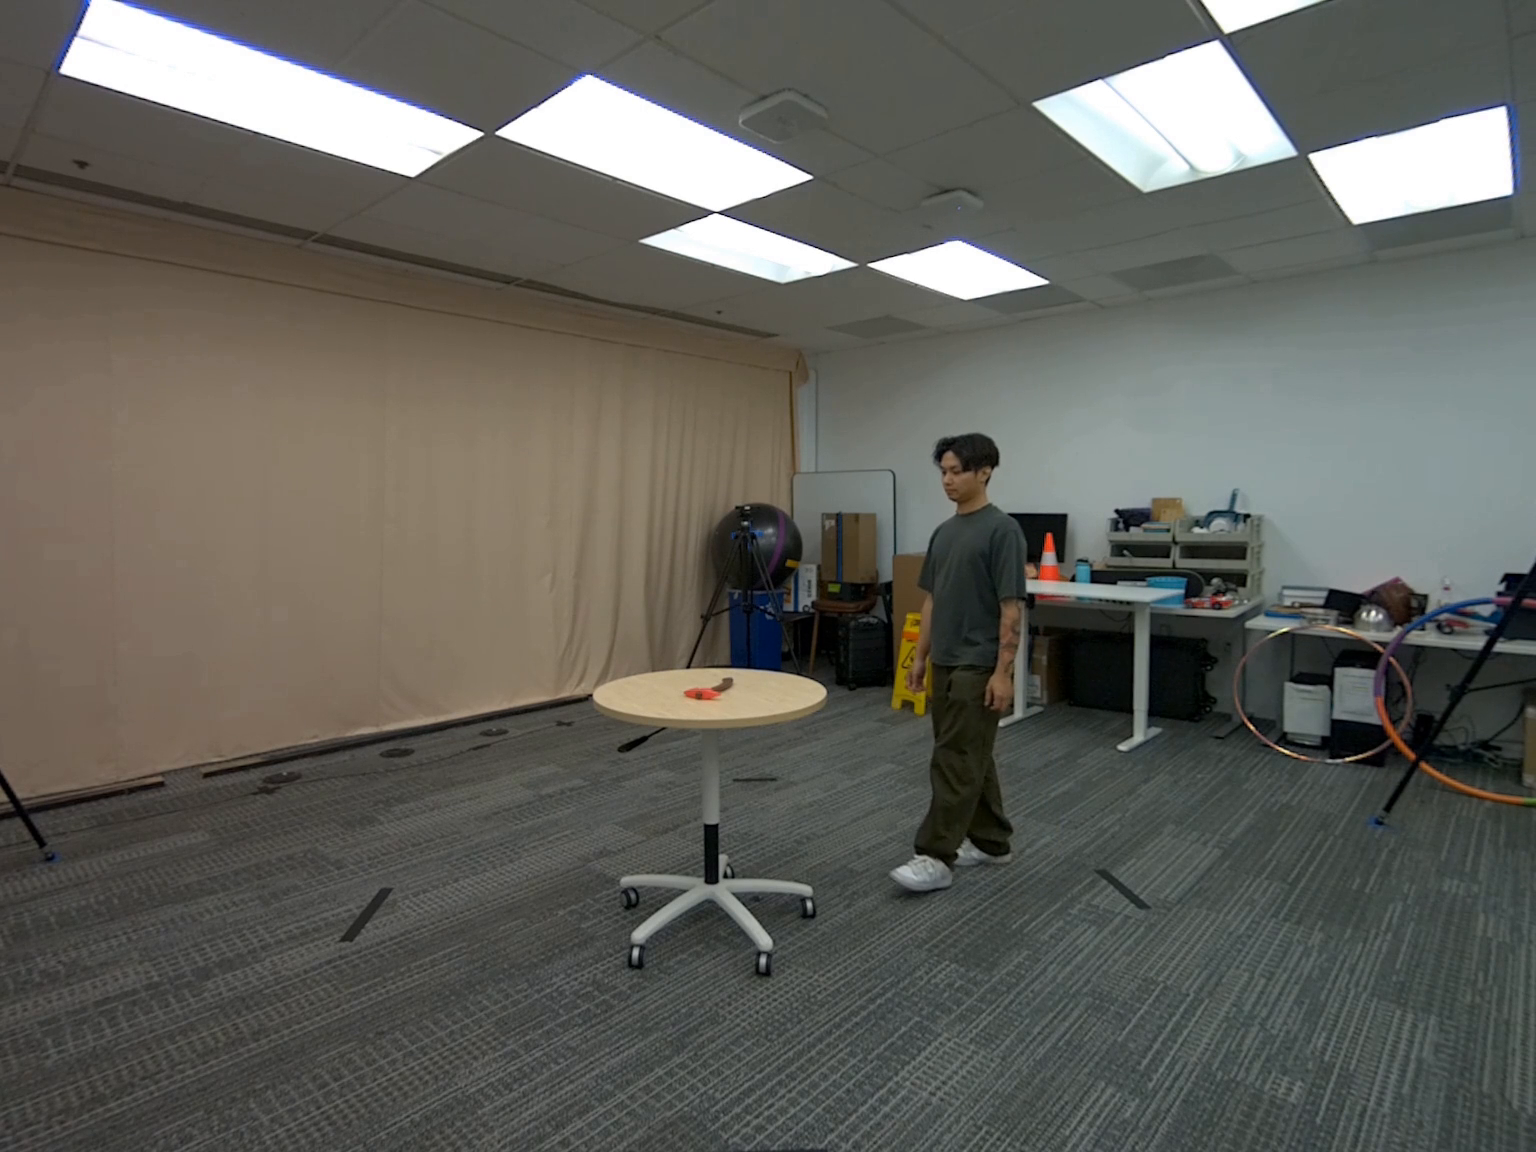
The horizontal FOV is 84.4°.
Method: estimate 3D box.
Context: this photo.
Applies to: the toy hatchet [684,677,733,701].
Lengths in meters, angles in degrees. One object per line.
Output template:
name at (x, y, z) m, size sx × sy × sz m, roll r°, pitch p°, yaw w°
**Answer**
toy hatchet at (-0.194, 0.370, 2.767) m, size 0.132 × 0.029 × 0.268 m, roll -4°, pitch 2°, yaw 7°
